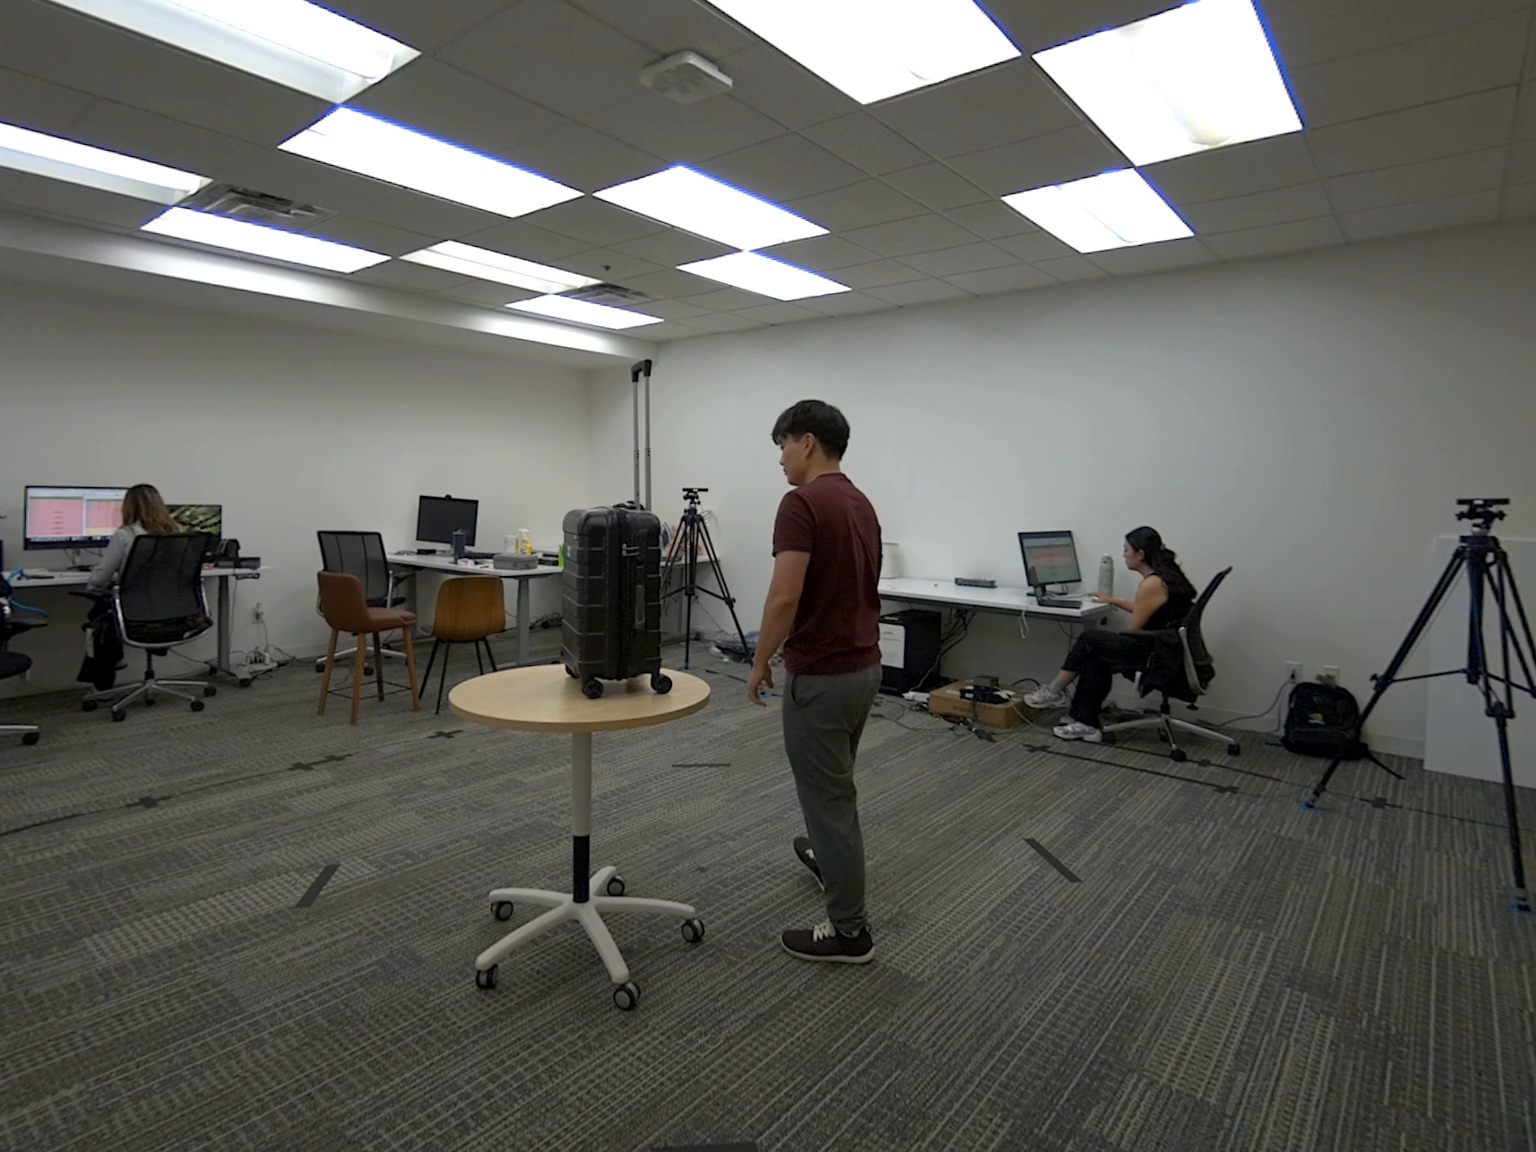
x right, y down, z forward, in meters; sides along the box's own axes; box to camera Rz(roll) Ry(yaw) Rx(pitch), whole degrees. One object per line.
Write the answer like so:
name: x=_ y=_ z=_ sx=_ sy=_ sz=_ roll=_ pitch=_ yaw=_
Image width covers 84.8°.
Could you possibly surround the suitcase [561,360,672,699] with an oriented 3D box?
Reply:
suitcase: x=-0.490 y=-0.148 z=2.573 sx=0.253 sy=0.976 sz=0.391 roll=-2 pitch=3 yaw=-18
